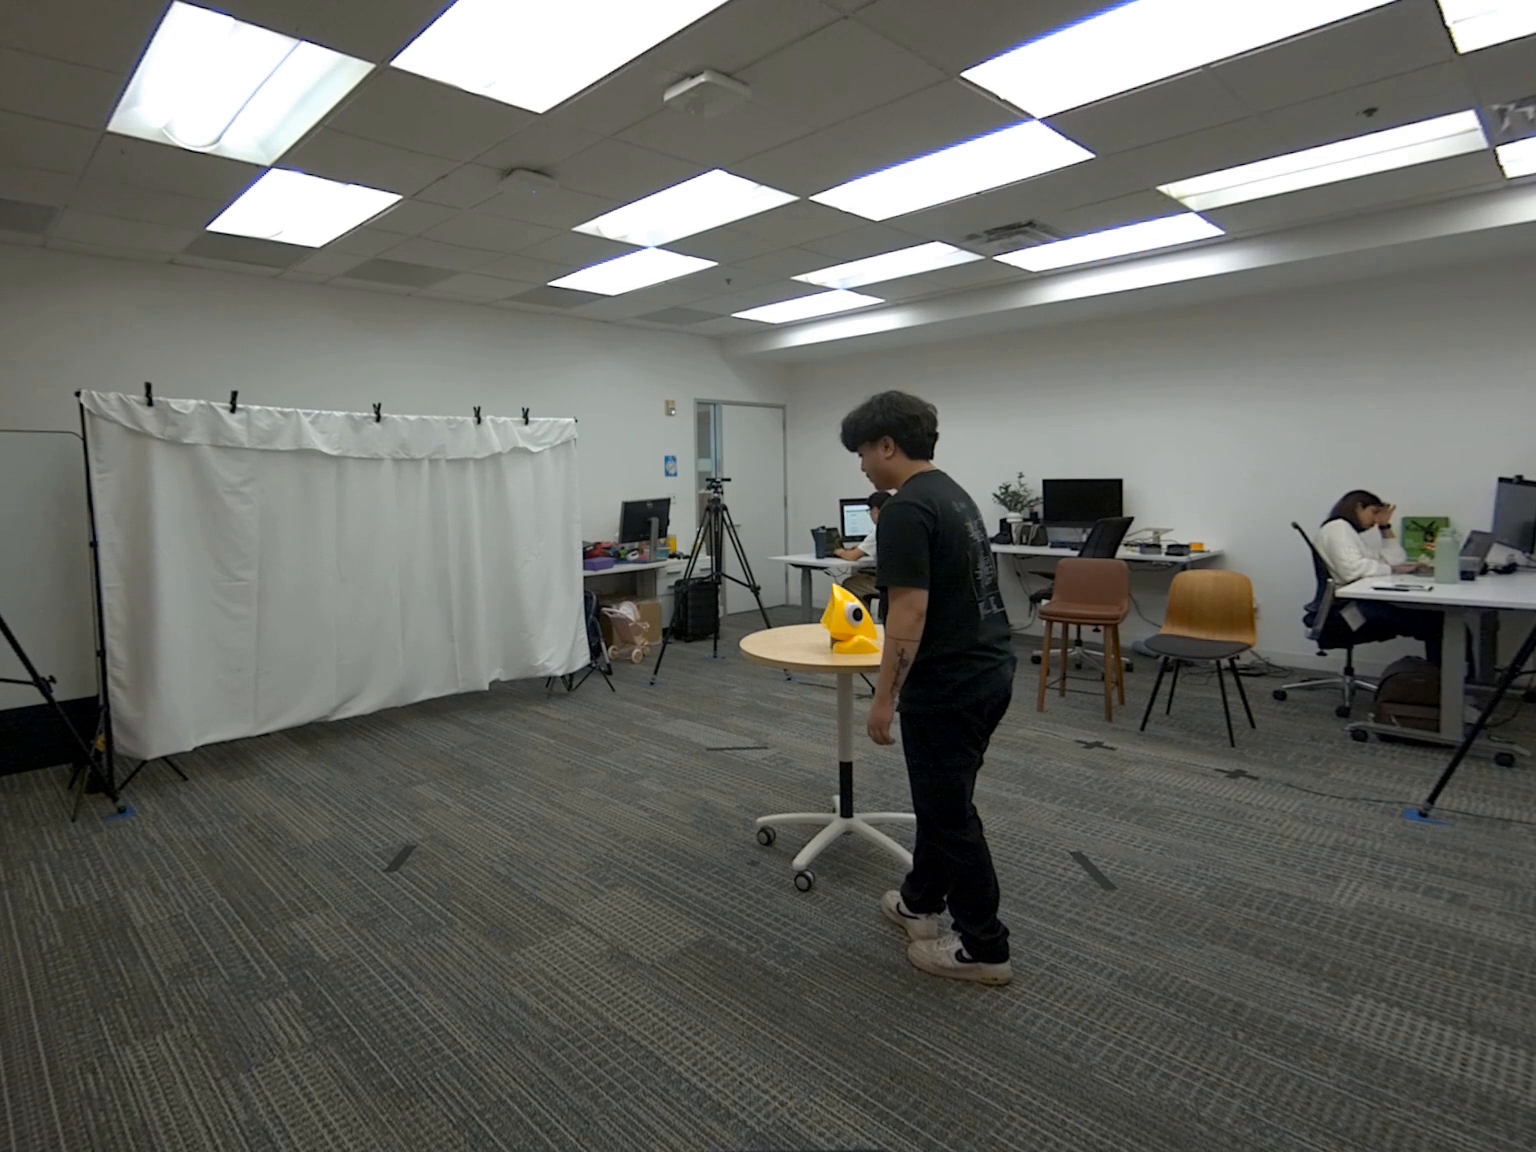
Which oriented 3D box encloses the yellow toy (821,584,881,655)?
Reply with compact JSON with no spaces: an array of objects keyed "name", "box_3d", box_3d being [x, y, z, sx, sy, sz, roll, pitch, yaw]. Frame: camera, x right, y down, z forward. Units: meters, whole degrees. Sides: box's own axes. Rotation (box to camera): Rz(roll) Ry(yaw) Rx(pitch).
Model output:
[{"name":"yellow toy","box_3d":[0.293,0.139,3.012,0.192,0.230,0.206,-3,5,-5]}]
